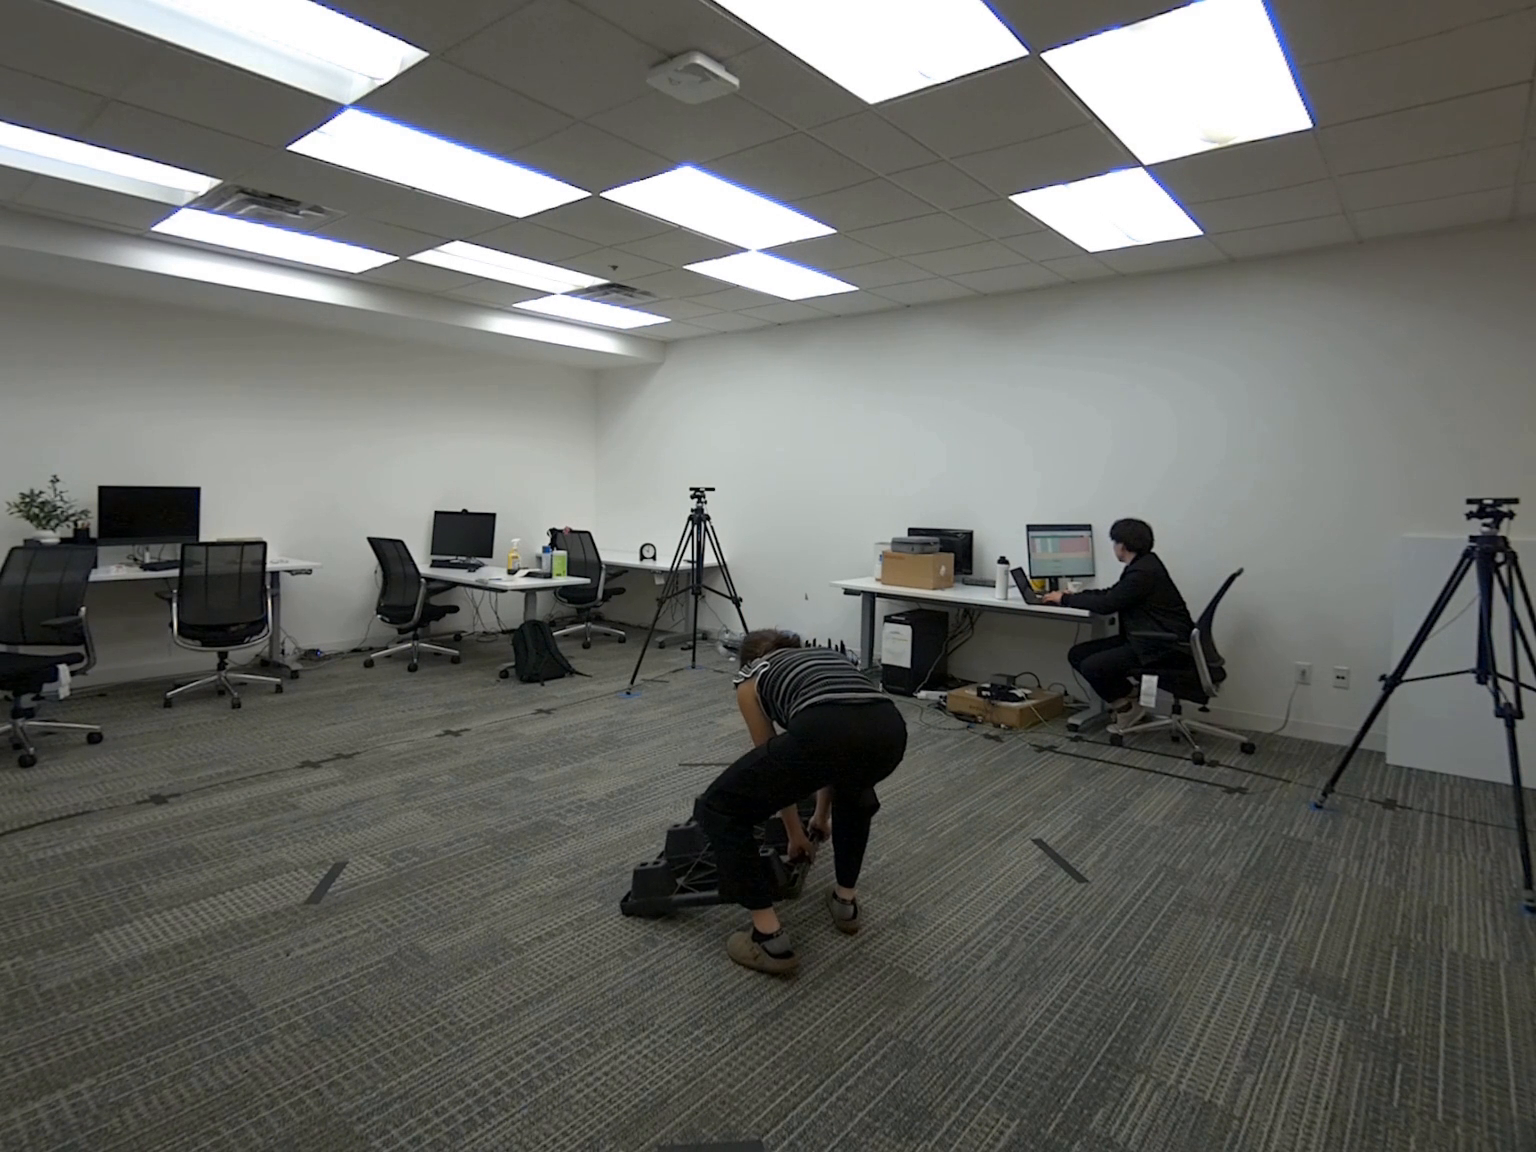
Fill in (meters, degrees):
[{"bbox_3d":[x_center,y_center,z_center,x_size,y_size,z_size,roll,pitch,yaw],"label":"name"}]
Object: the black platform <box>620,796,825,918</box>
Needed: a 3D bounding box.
[{"bbox_3d":[-0.128,0.941,3.048,0.613,0.143,0.796,-11,3,14],"label":"black platform"}]
